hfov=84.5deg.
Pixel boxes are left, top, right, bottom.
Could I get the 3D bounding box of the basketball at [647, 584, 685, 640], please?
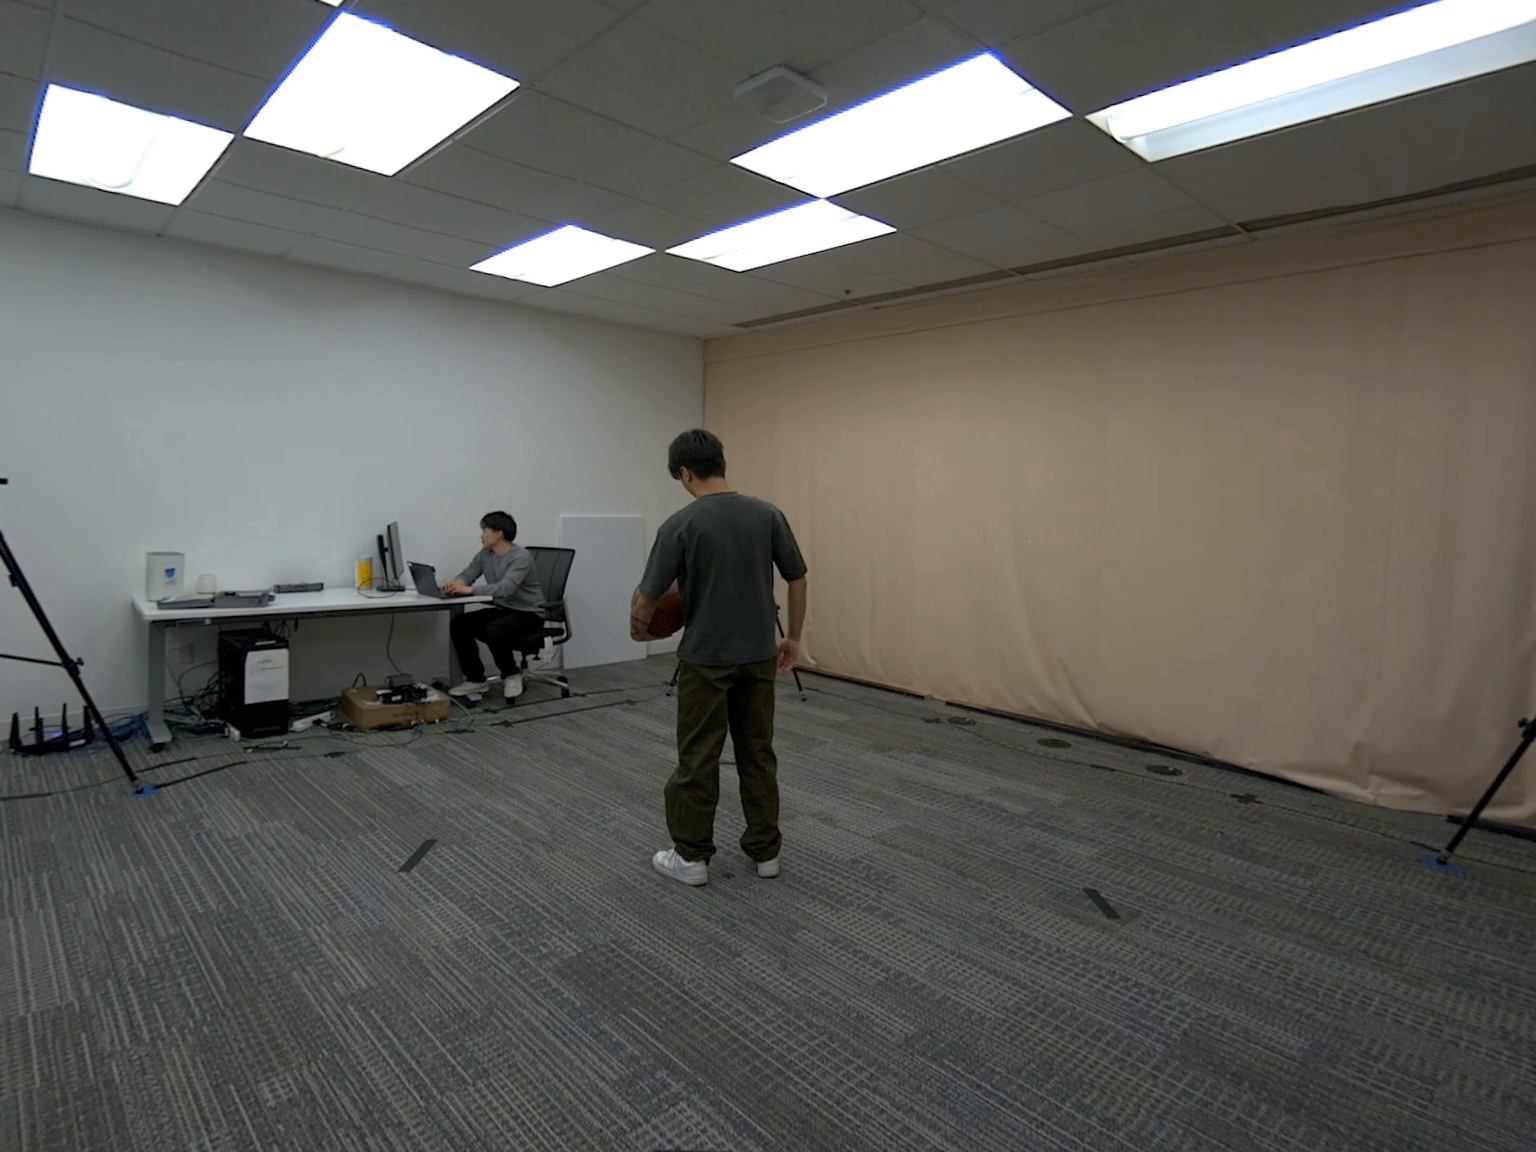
[{"bbox_3d":[-0.400,0.111,3.265,0.236,0.235,0.237,1,4,-1],"label":"basketball"}]
